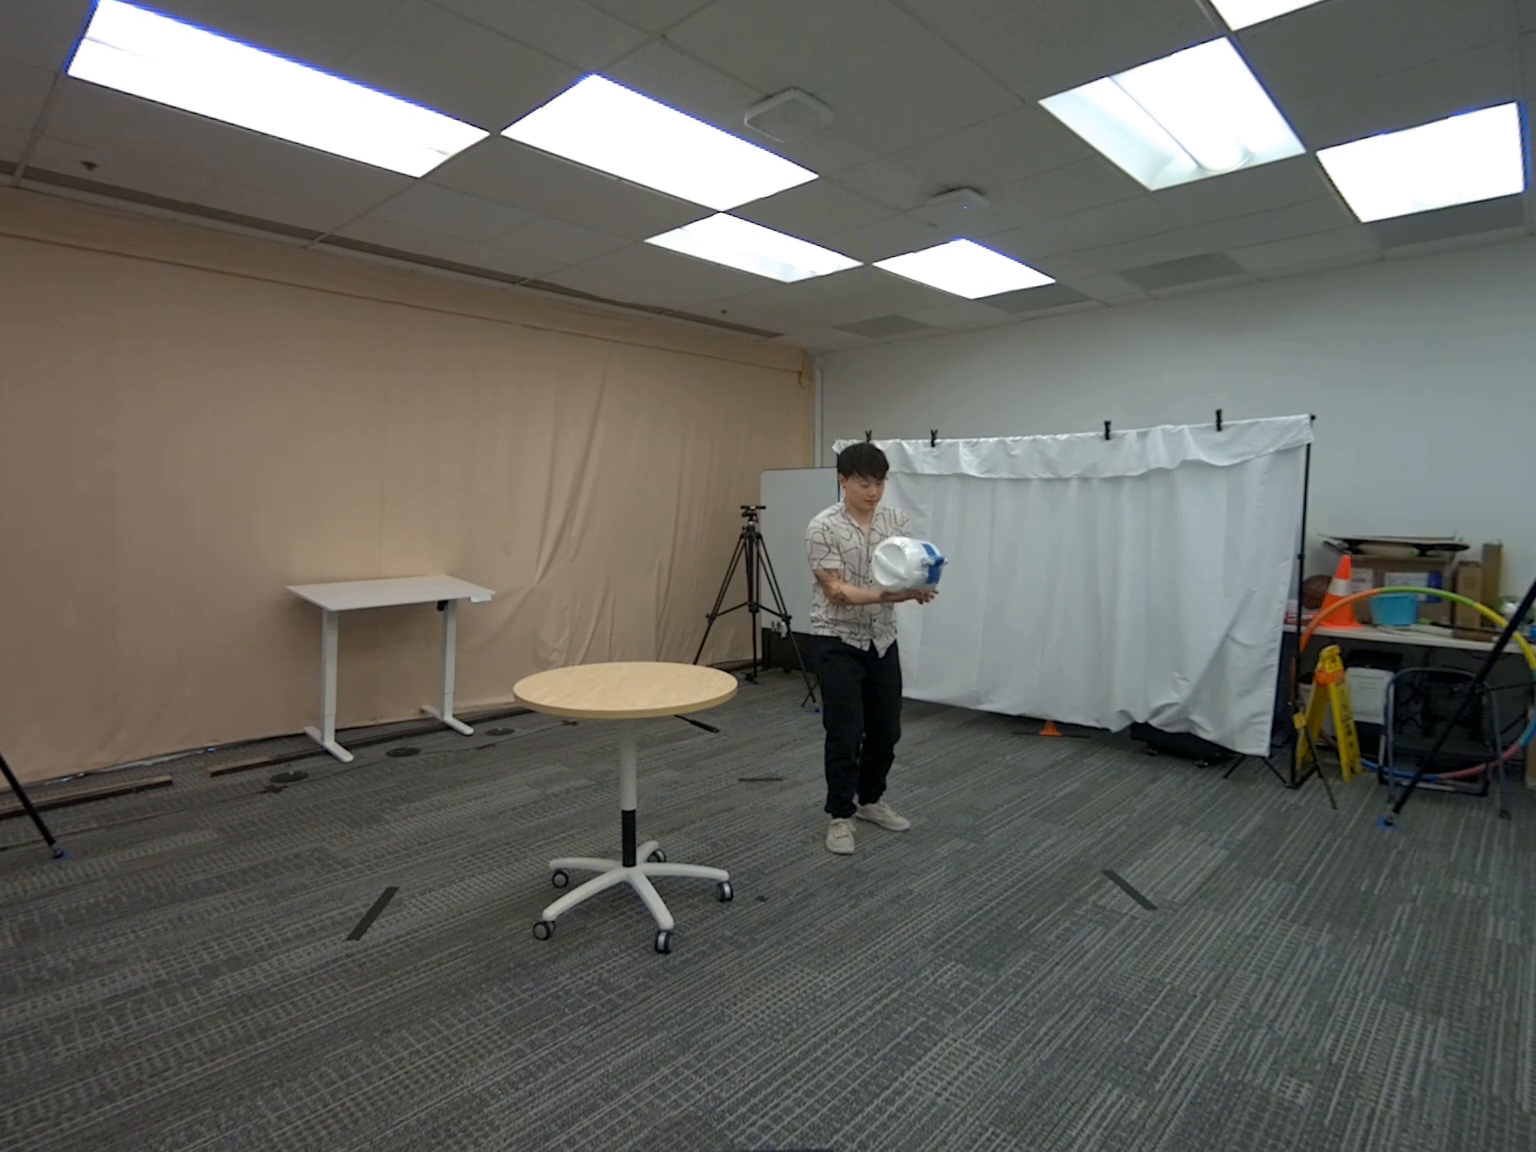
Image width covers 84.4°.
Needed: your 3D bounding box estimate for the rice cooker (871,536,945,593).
[{"bbox_3d":[0.508,-0.033,3.123,0.225,0.217,0.228,8,30,-42],"label":"rice cooker"}]
